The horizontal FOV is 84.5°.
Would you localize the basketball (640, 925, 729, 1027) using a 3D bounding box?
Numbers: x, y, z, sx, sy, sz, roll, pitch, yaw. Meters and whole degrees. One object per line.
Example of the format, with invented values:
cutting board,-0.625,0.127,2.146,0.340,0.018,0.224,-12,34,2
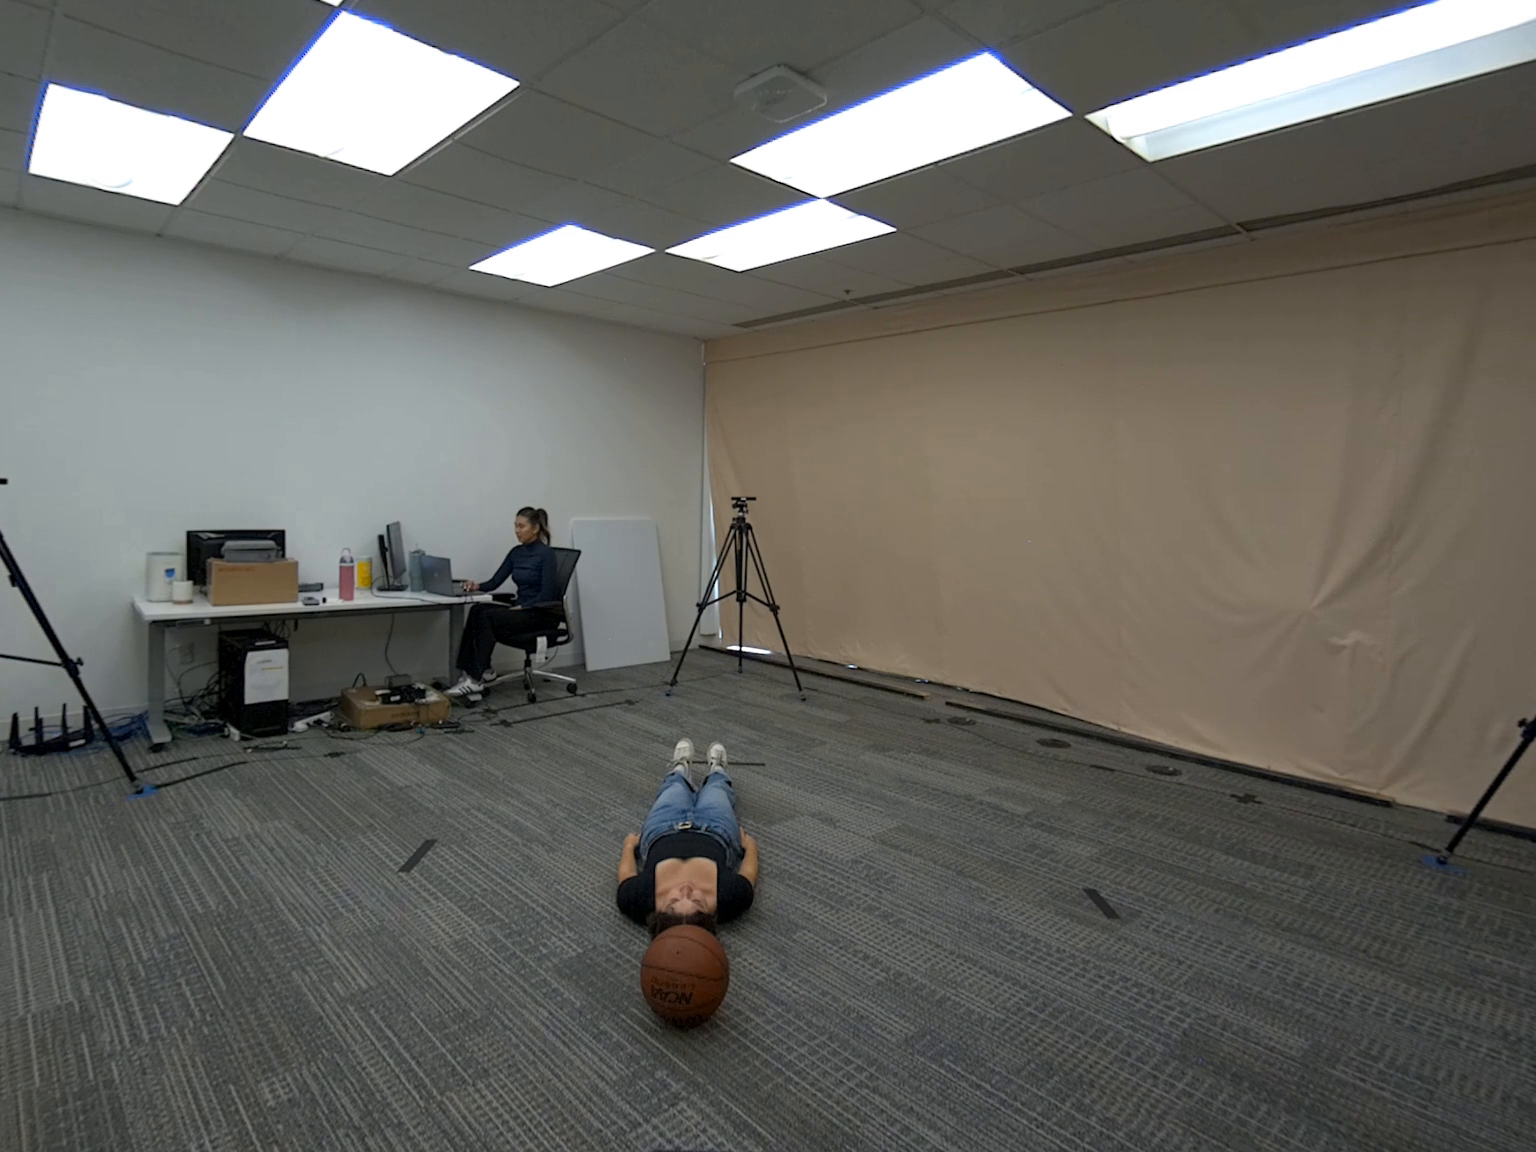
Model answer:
basketball,-0.225,1.068,2.237,0.236,0.235,0.237,1,4,-1
